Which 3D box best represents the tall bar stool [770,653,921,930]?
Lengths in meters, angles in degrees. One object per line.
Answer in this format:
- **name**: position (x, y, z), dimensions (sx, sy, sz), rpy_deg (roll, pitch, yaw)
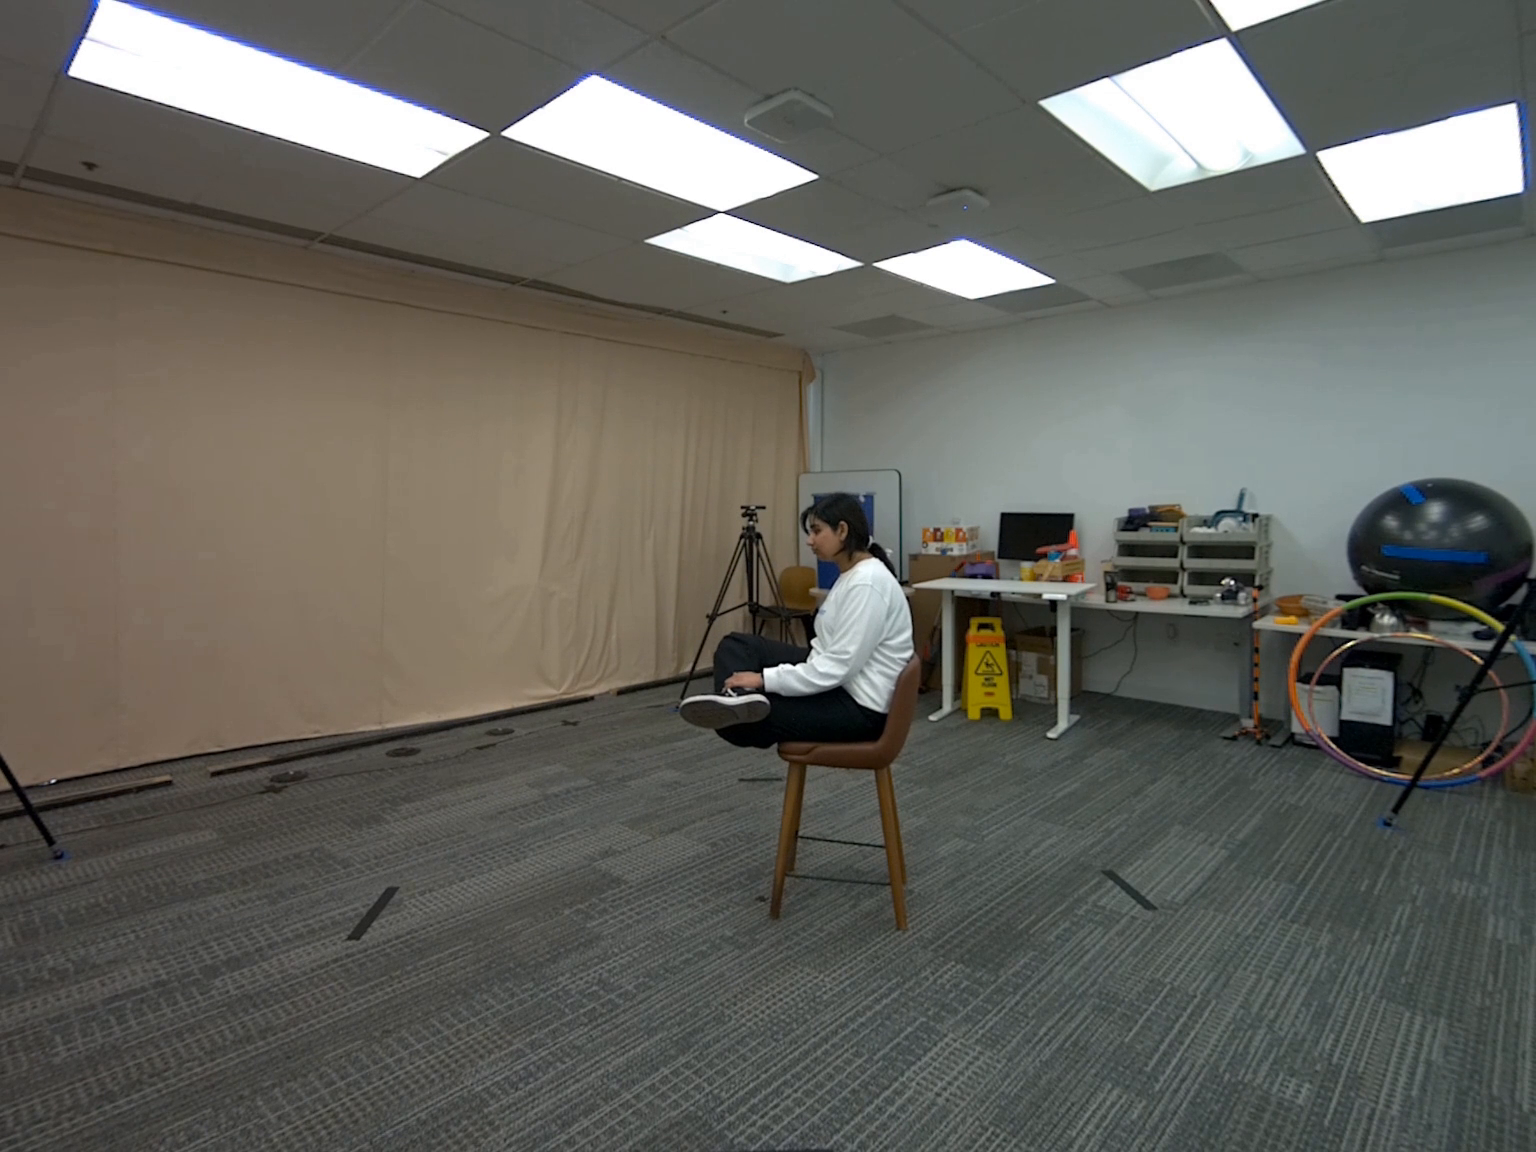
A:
- **tall bar stool**: position (0.278, 0.716, 2.956), dimensions (0.474, 0.888, 0.451), rpy_deg (3, 3, 12)
